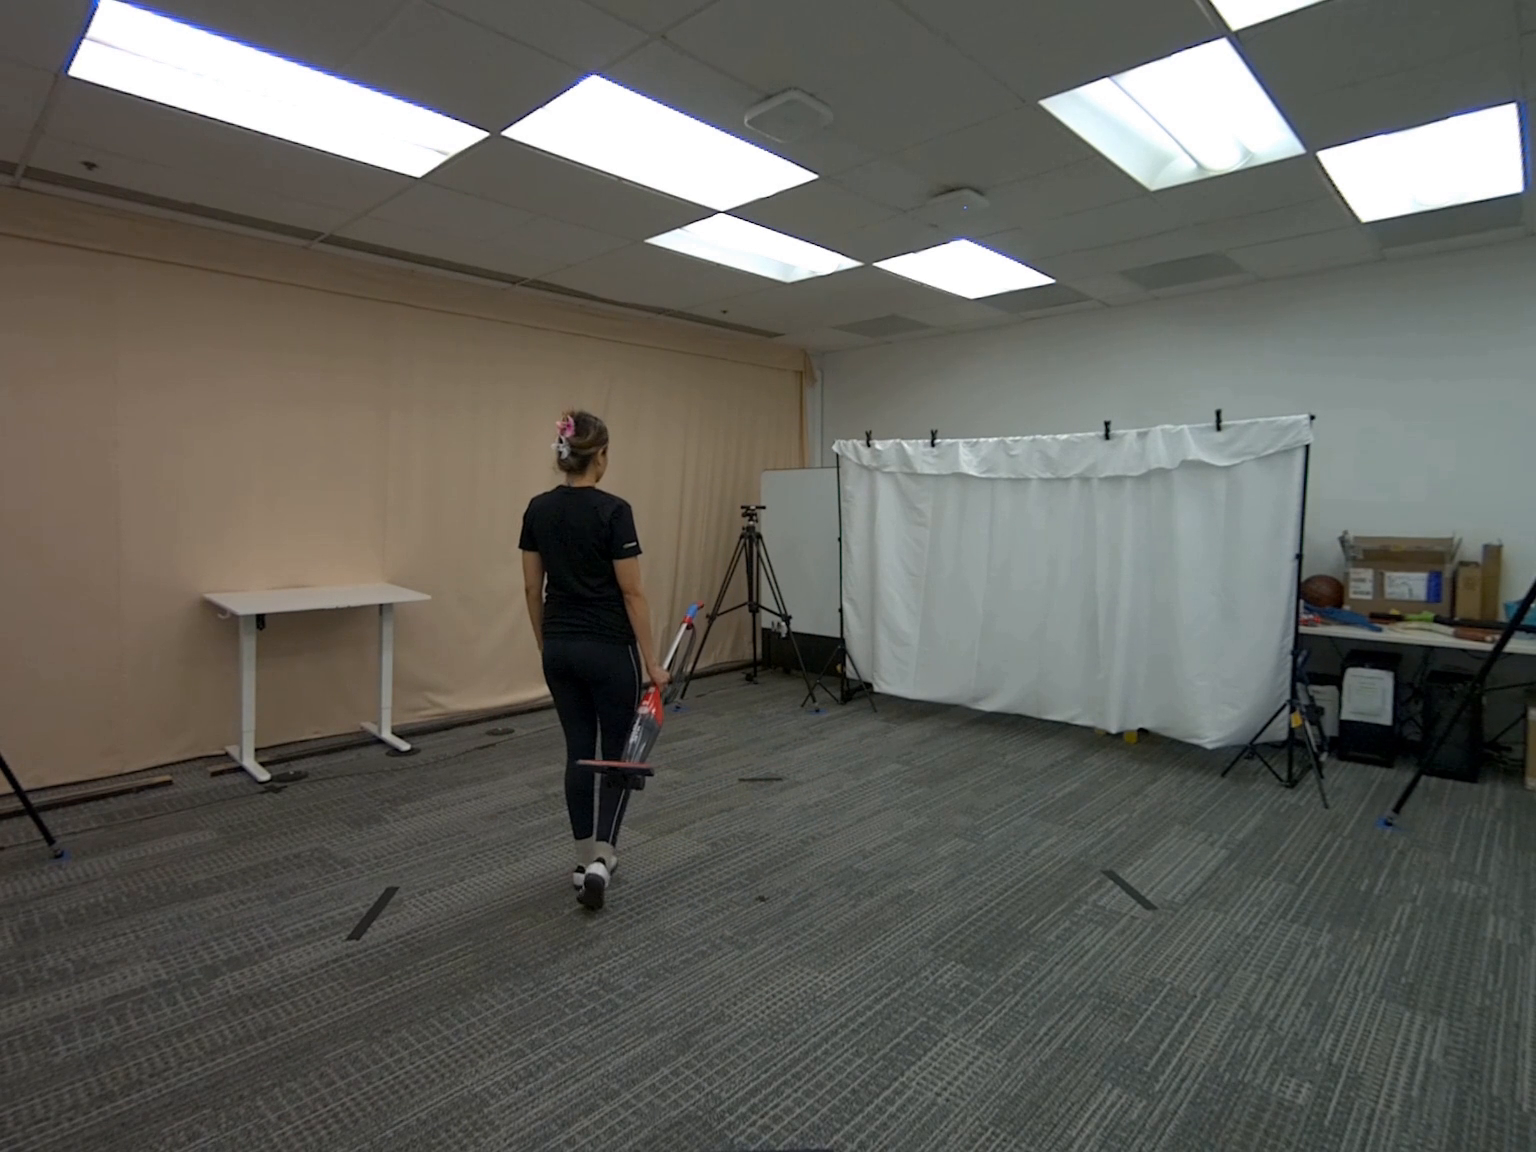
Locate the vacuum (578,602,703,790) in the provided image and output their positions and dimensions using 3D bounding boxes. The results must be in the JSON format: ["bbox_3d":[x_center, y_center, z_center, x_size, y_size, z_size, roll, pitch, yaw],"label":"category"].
[{"bbox_3d":[-0.366,0.388,3.104,0.256,0.141,1.053,-1,30,13],"label":"vacuum"}]
